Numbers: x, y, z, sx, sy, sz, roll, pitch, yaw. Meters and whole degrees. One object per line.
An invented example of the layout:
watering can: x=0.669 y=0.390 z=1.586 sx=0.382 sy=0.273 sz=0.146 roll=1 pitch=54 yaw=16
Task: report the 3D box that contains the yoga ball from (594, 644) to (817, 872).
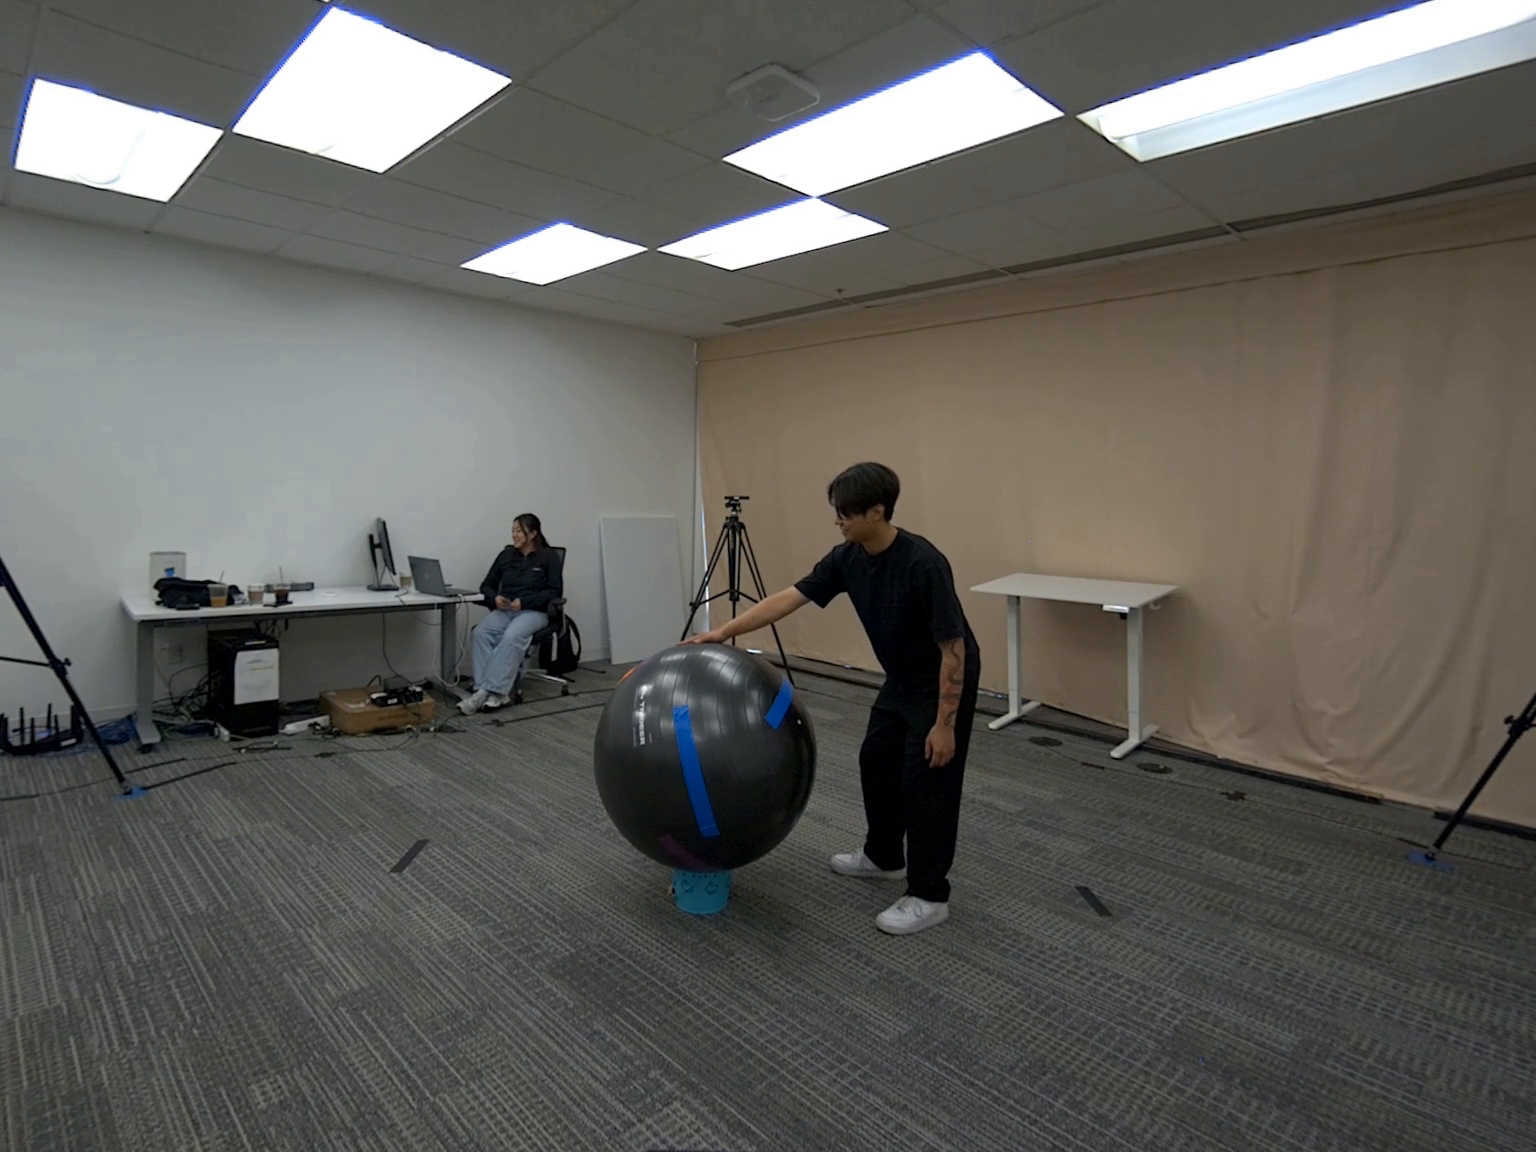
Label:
yoga ball: x=-0.229 y=0.616 z=2.880 sx=0.757 sy=0.756 sz=0.761 roll=1 pitch=4 yaw=-1
